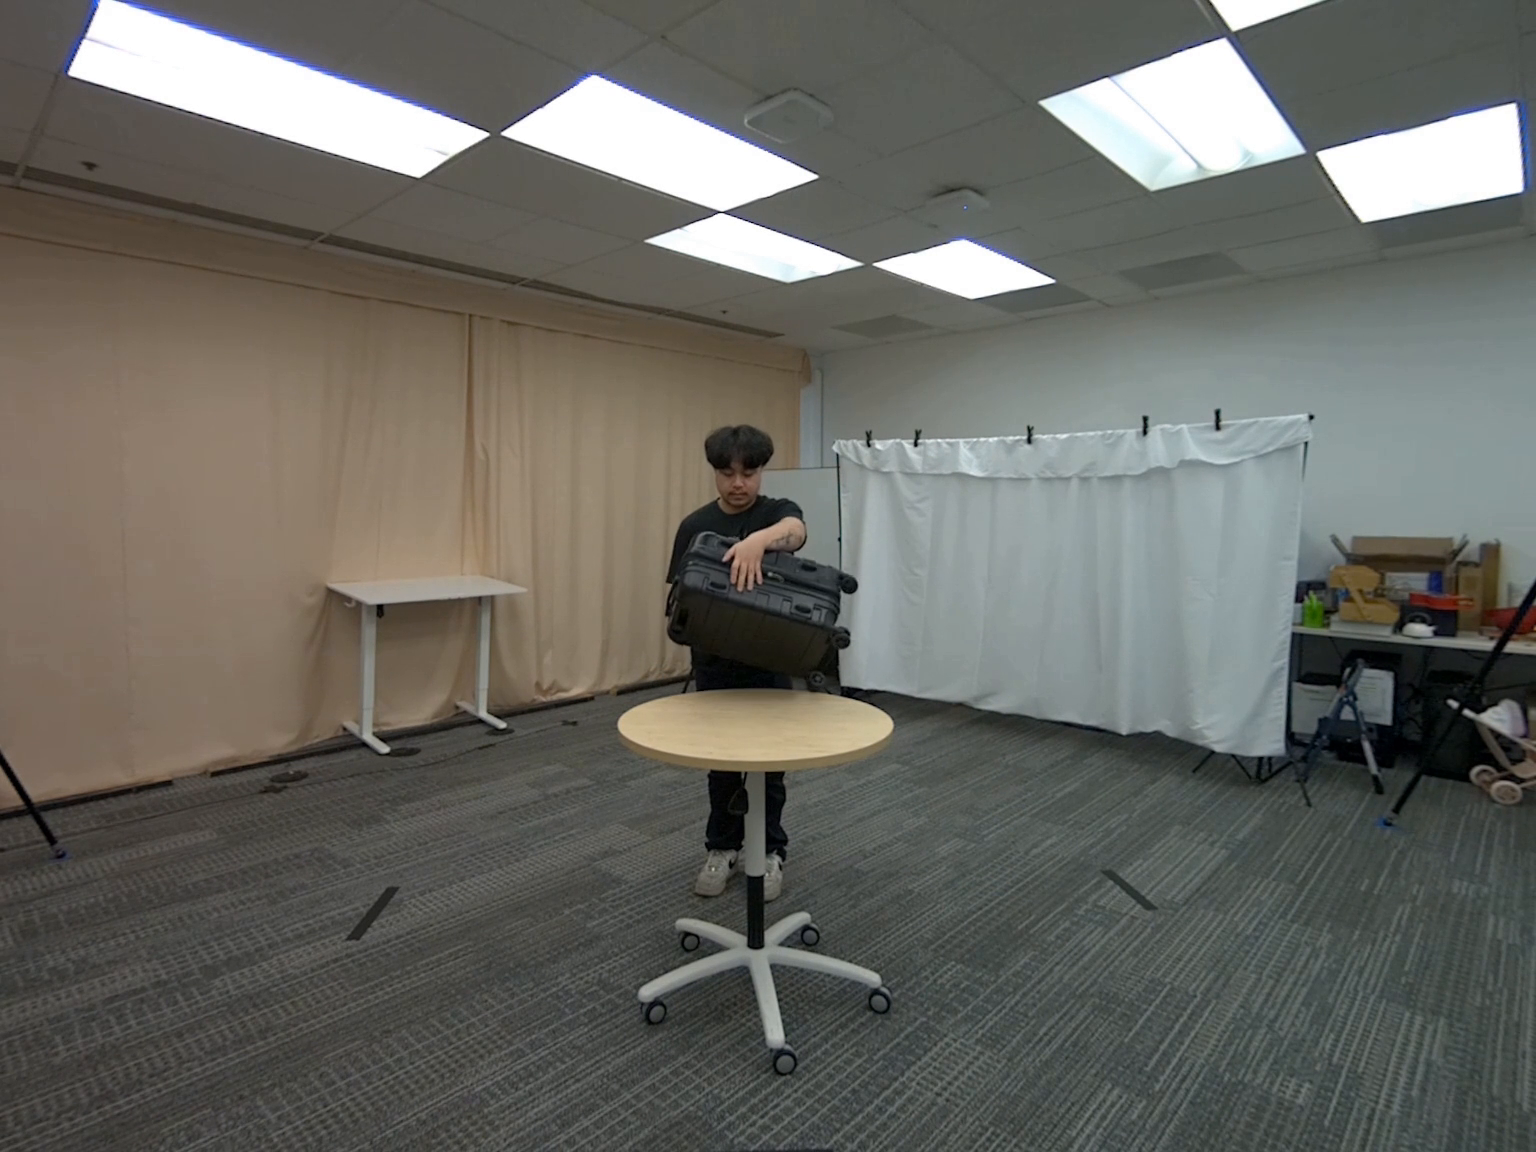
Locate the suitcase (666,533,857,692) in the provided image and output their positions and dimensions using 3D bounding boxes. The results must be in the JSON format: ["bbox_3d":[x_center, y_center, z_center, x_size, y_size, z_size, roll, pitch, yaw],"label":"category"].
[{"bbox_3d":[-0.042,0.086,2.658,0.548,0.251,0.372,13,-36,-2],"label":"suitcase"}]
